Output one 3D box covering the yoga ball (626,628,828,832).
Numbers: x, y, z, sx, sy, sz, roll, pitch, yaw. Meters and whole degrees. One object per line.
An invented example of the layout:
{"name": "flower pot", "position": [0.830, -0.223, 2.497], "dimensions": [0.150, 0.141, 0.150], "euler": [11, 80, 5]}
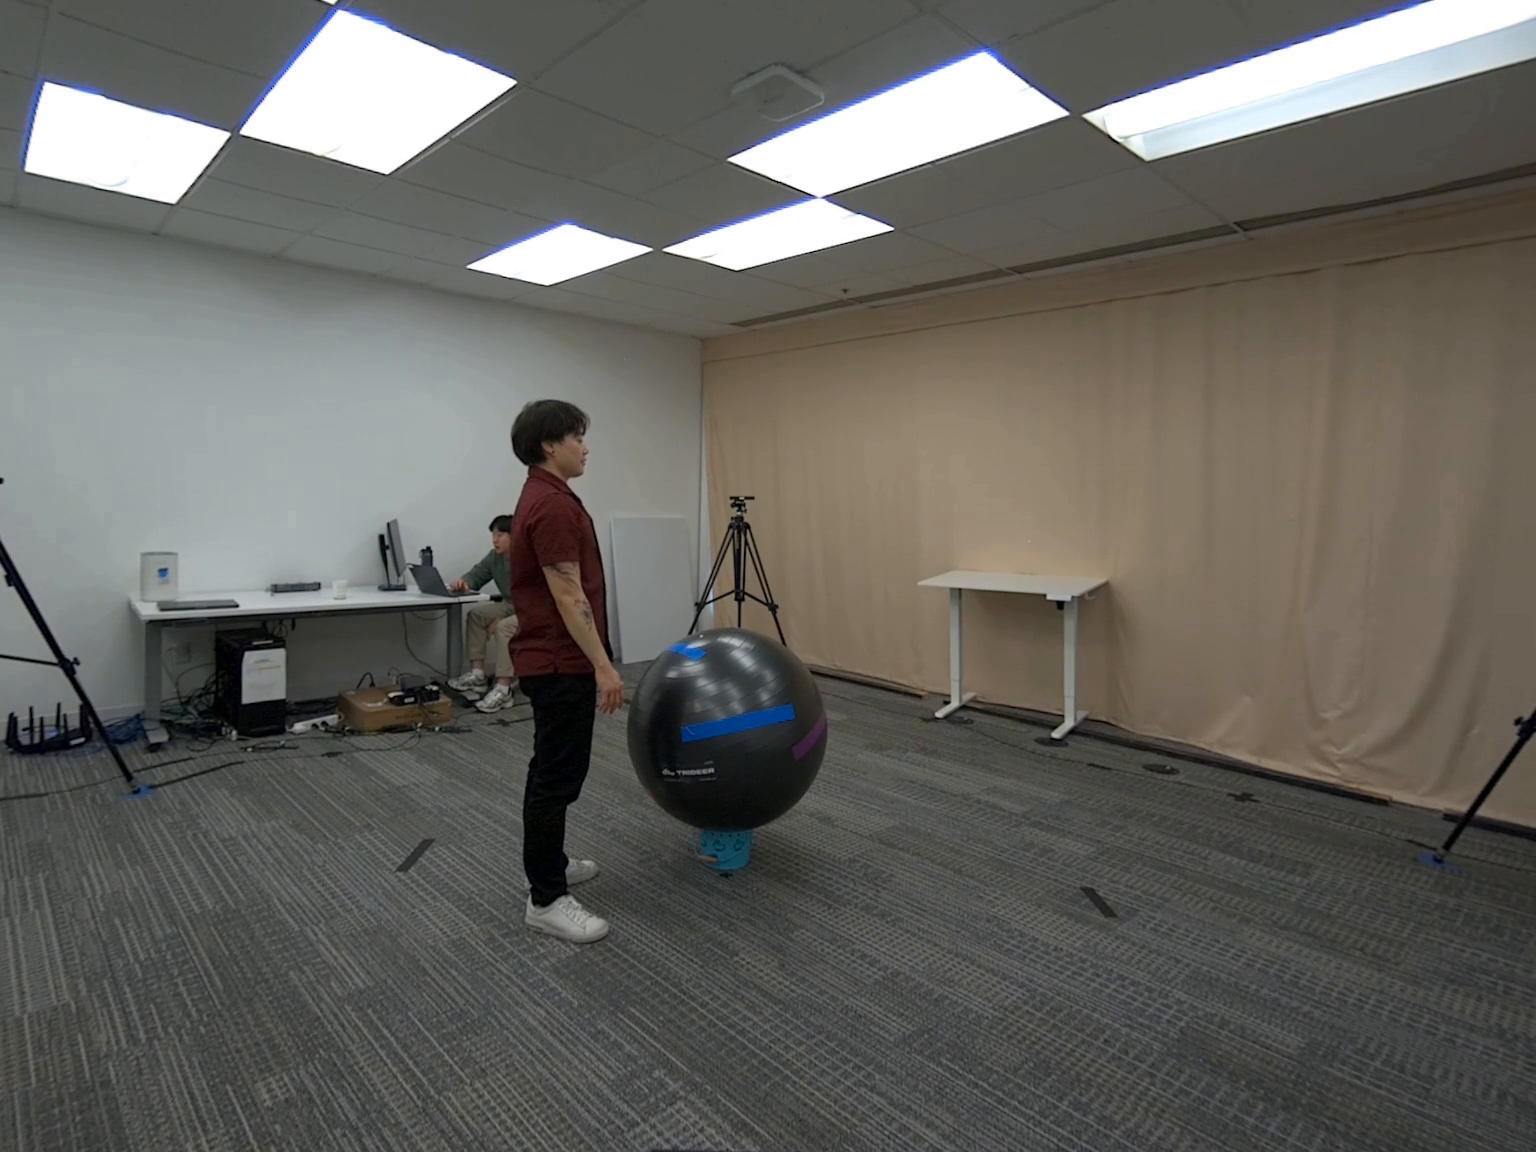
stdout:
{"name": "yoga ball", "position": [-0.159, 0.579, 3.205], "dimensions": [0.757, 0.756, 0.761], "euler": [1, 4, -1]}
